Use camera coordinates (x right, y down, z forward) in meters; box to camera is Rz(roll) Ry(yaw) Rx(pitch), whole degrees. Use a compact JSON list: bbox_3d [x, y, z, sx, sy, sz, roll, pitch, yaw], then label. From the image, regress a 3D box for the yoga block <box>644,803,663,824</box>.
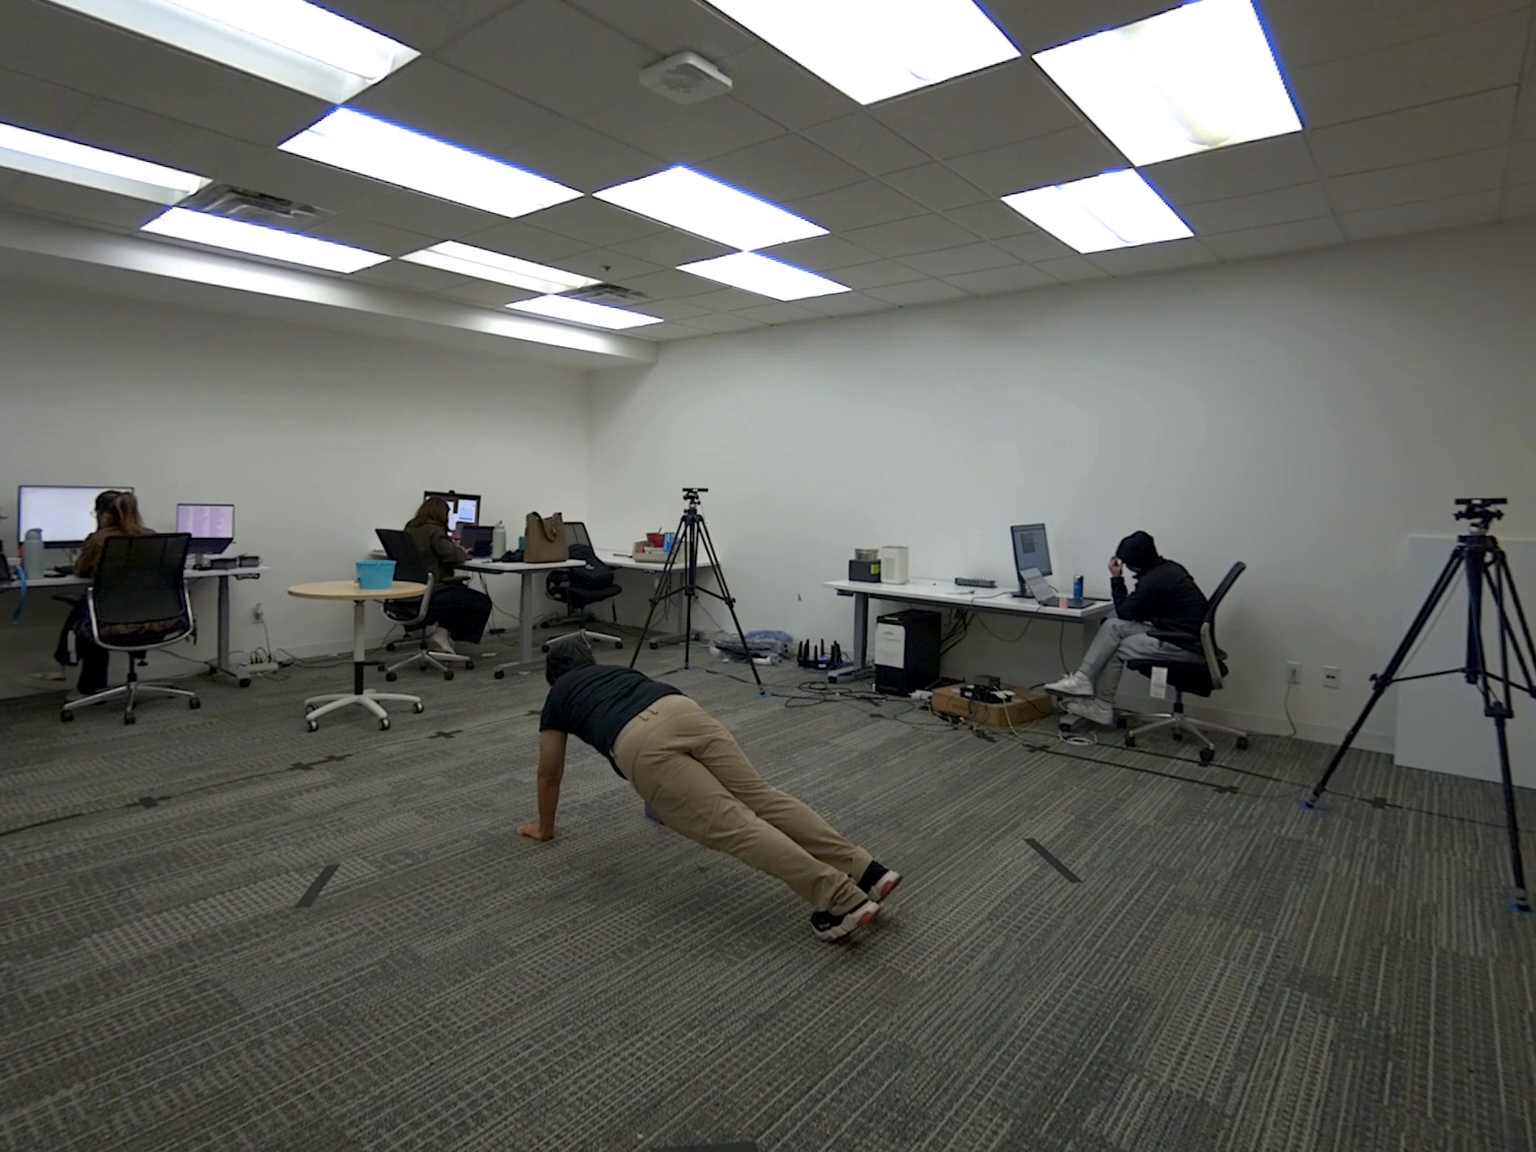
[{"bbox_3d":[-0.403,0.973,3.627,0.222,0.076,0.154,-2,5,-43],"label":"yoga block"}]
